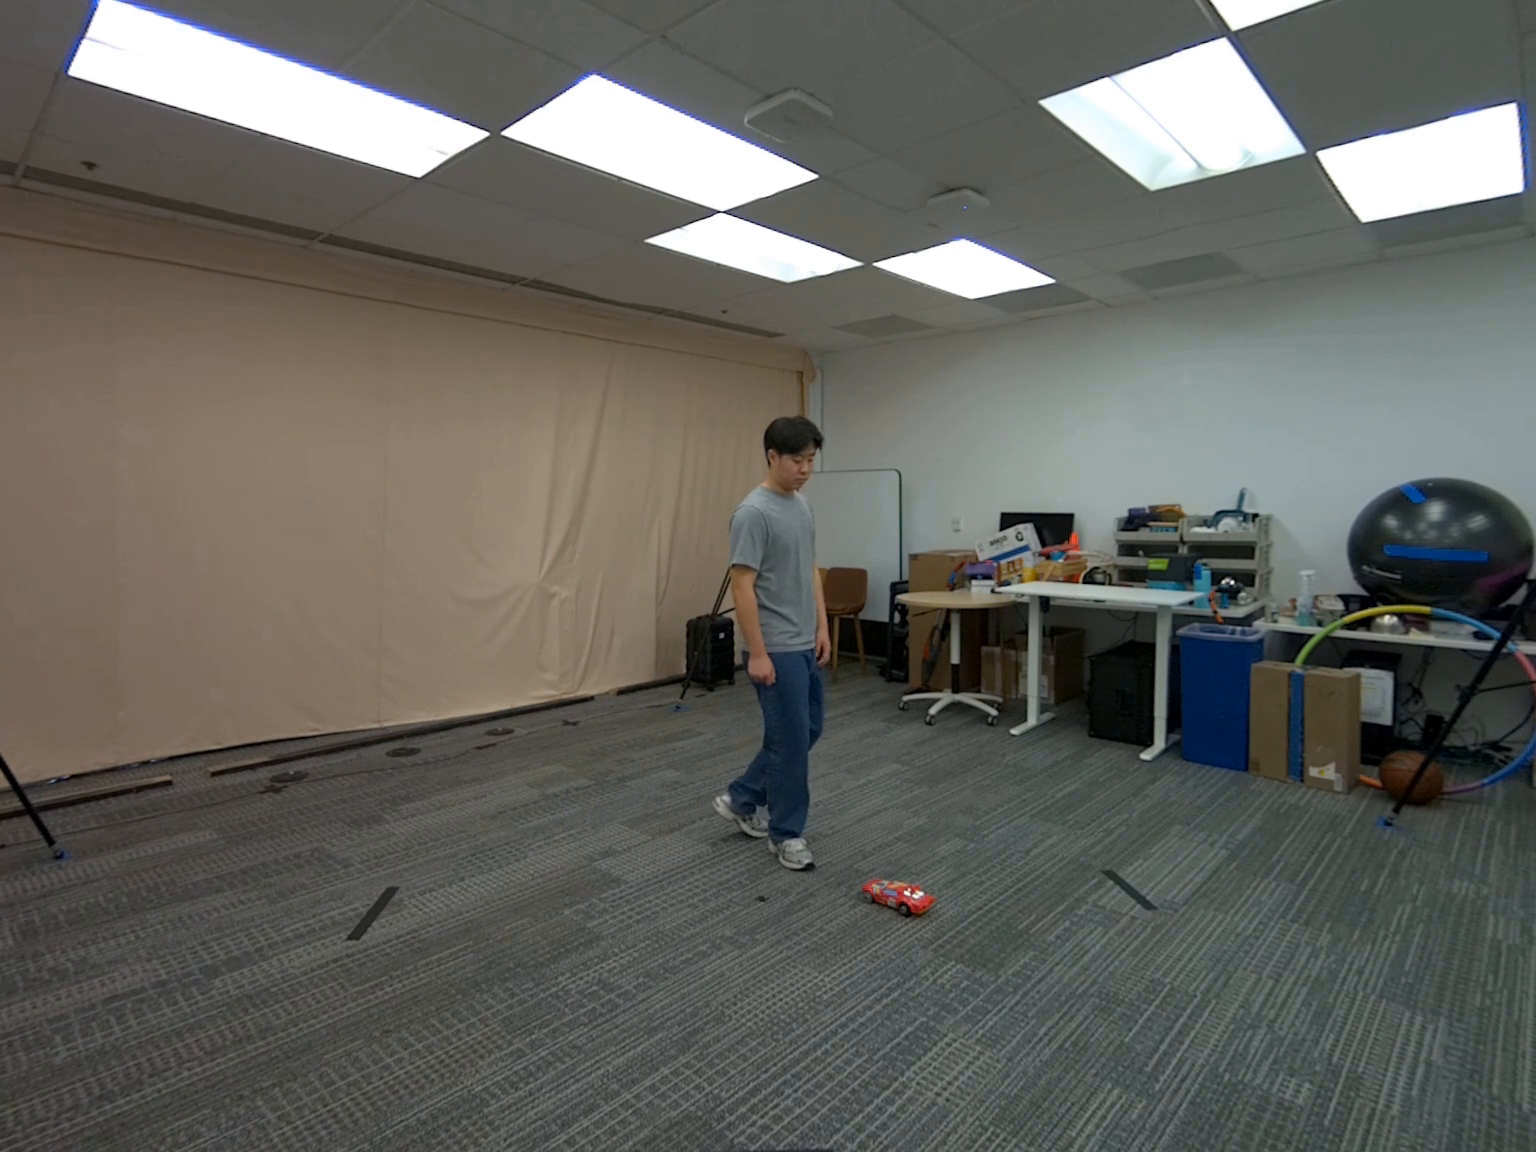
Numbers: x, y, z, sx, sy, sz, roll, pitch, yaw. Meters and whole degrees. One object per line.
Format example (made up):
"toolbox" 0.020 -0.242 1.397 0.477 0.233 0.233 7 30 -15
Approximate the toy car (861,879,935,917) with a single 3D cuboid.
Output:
"toy car" 0.462 1.114 2.916 0.262 0.083 0.126 -10 -3 42
